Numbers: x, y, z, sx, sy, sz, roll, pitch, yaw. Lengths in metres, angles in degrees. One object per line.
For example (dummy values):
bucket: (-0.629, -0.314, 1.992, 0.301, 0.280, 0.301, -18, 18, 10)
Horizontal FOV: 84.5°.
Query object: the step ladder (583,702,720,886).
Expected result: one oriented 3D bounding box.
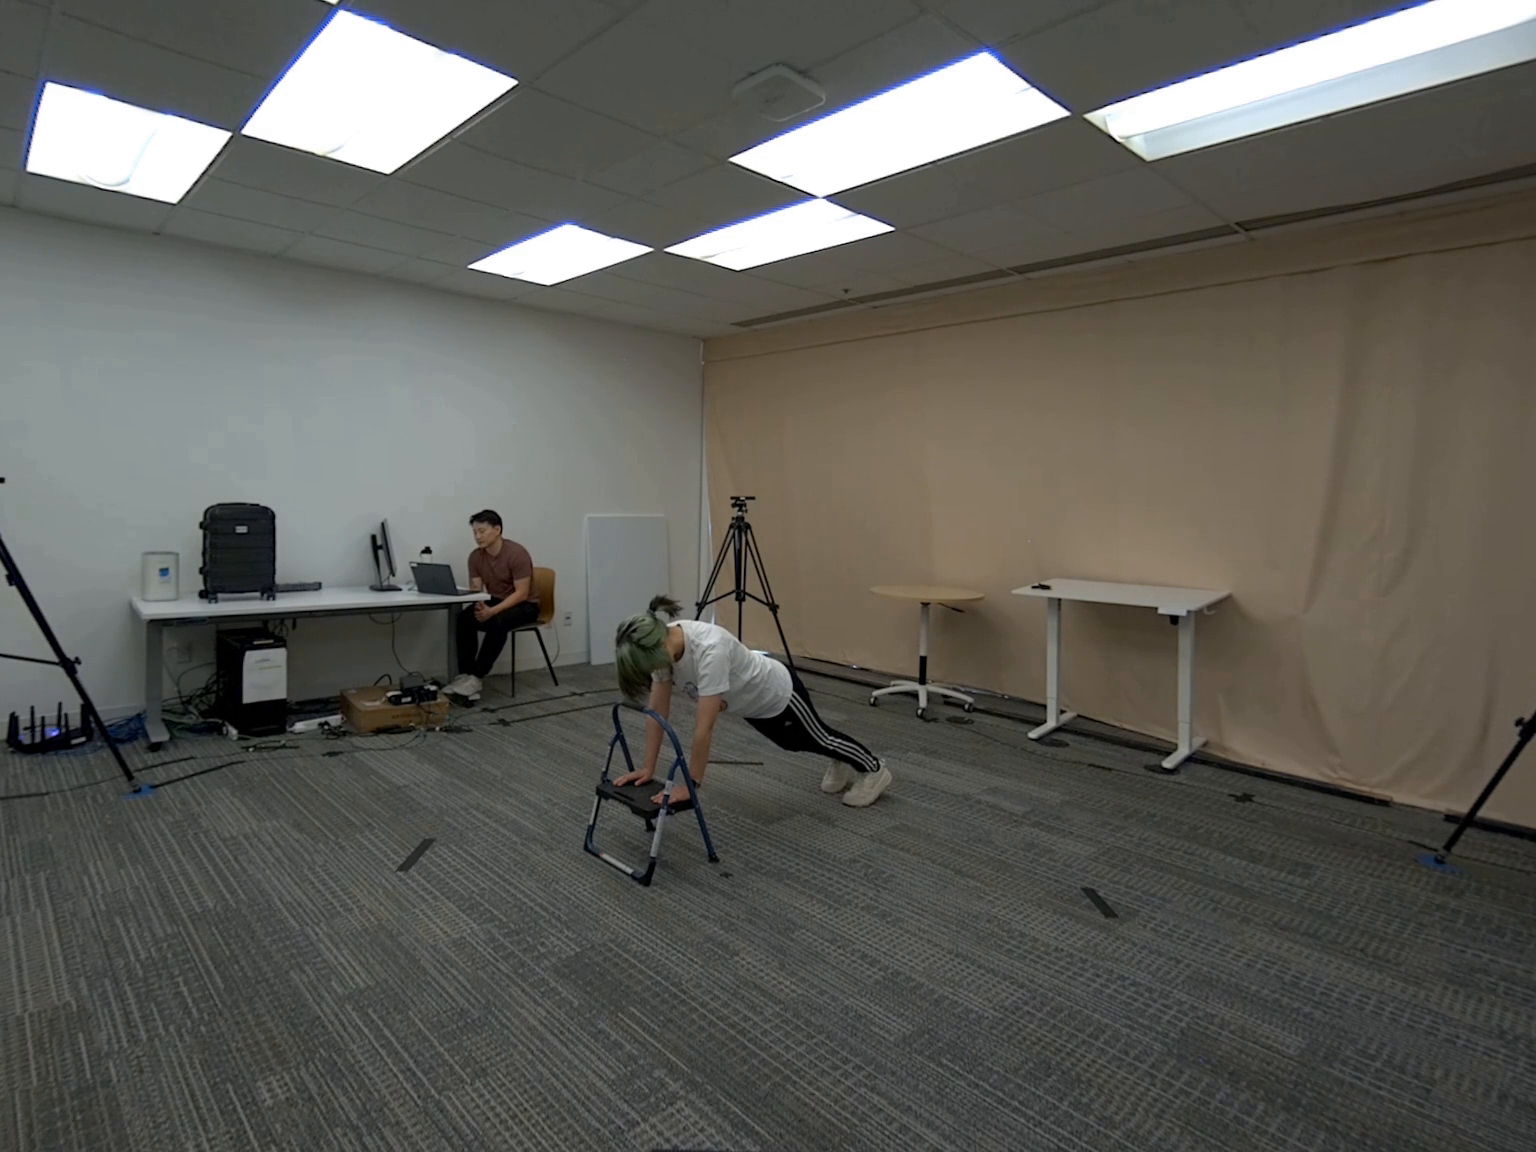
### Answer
step ladder: (-0.457, 0.783, 3.241, 0.341, 0.604, 0.442, -2, 5, -44)
